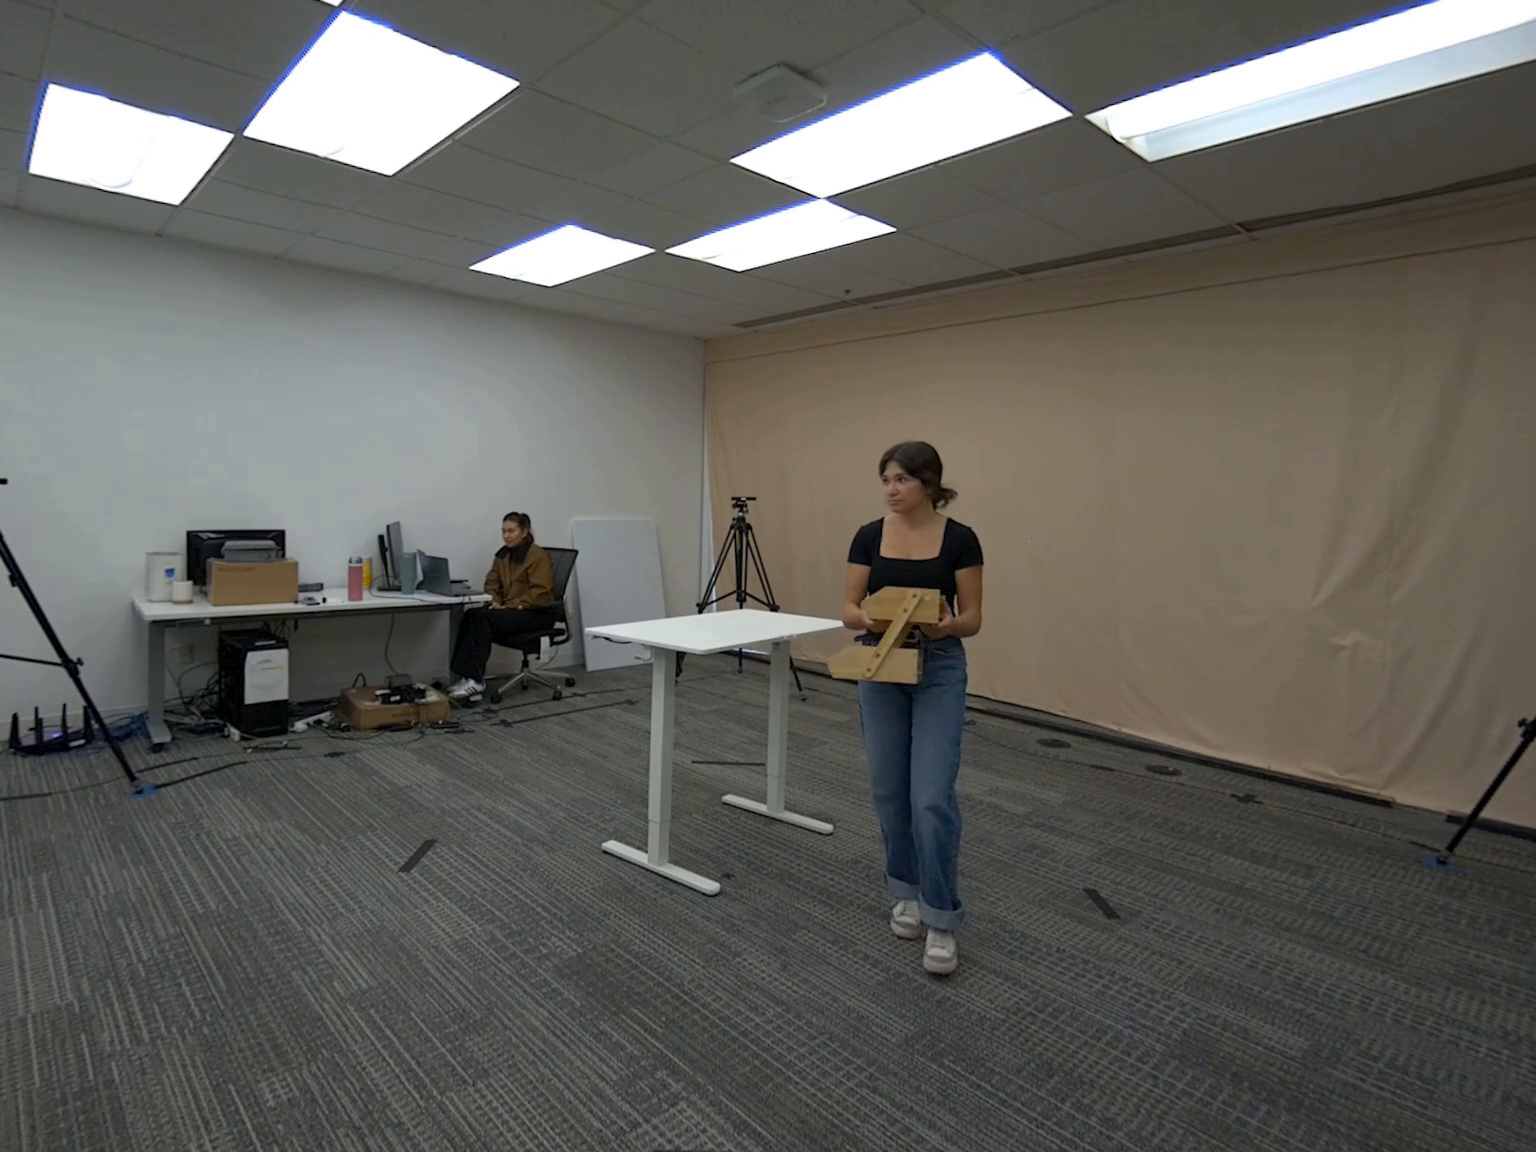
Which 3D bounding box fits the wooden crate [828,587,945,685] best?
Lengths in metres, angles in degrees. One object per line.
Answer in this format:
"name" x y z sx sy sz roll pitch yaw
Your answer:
"wooden crate" 0.336 0.171 2.471 0.305 0.274 0.319 4 -5 13
